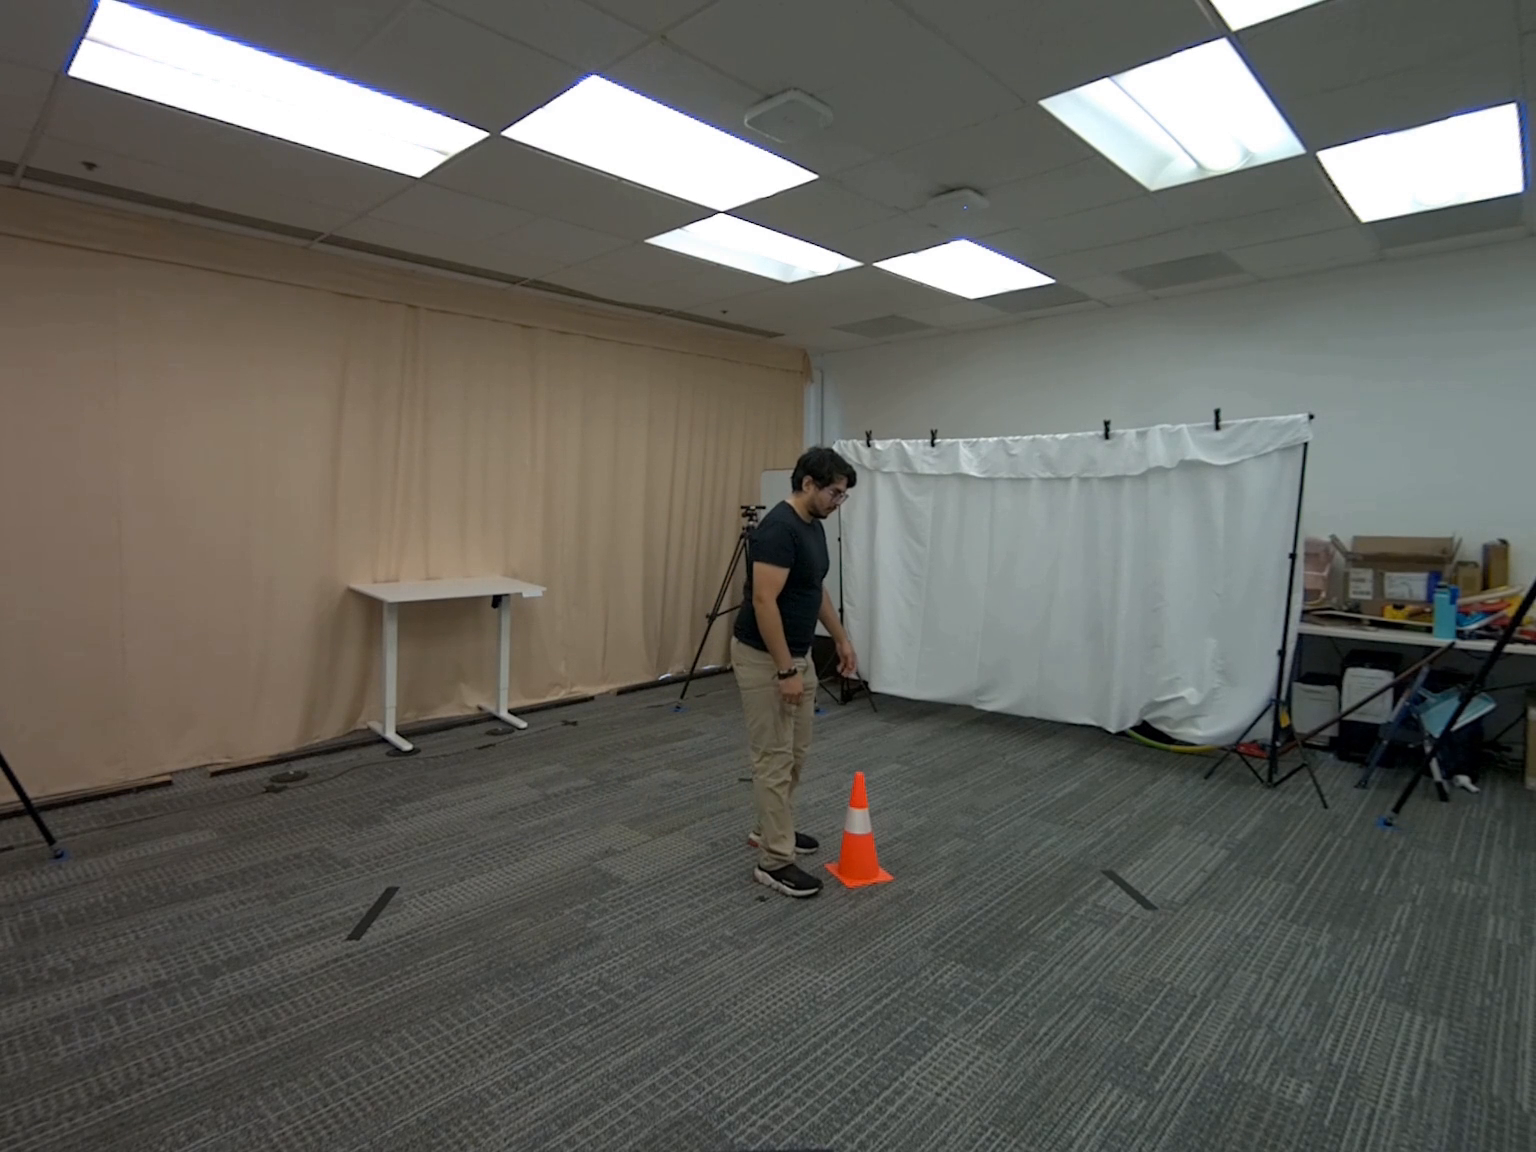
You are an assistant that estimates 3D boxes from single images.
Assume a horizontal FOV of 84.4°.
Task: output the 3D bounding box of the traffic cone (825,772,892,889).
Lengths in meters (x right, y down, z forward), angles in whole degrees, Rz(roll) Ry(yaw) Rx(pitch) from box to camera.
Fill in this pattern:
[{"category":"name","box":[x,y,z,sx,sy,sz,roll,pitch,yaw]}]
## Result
[{"category":"traffic cone","box":[0.342,0.938,3.188,0.198,0.383,0.210,-1,2,-25]}]
